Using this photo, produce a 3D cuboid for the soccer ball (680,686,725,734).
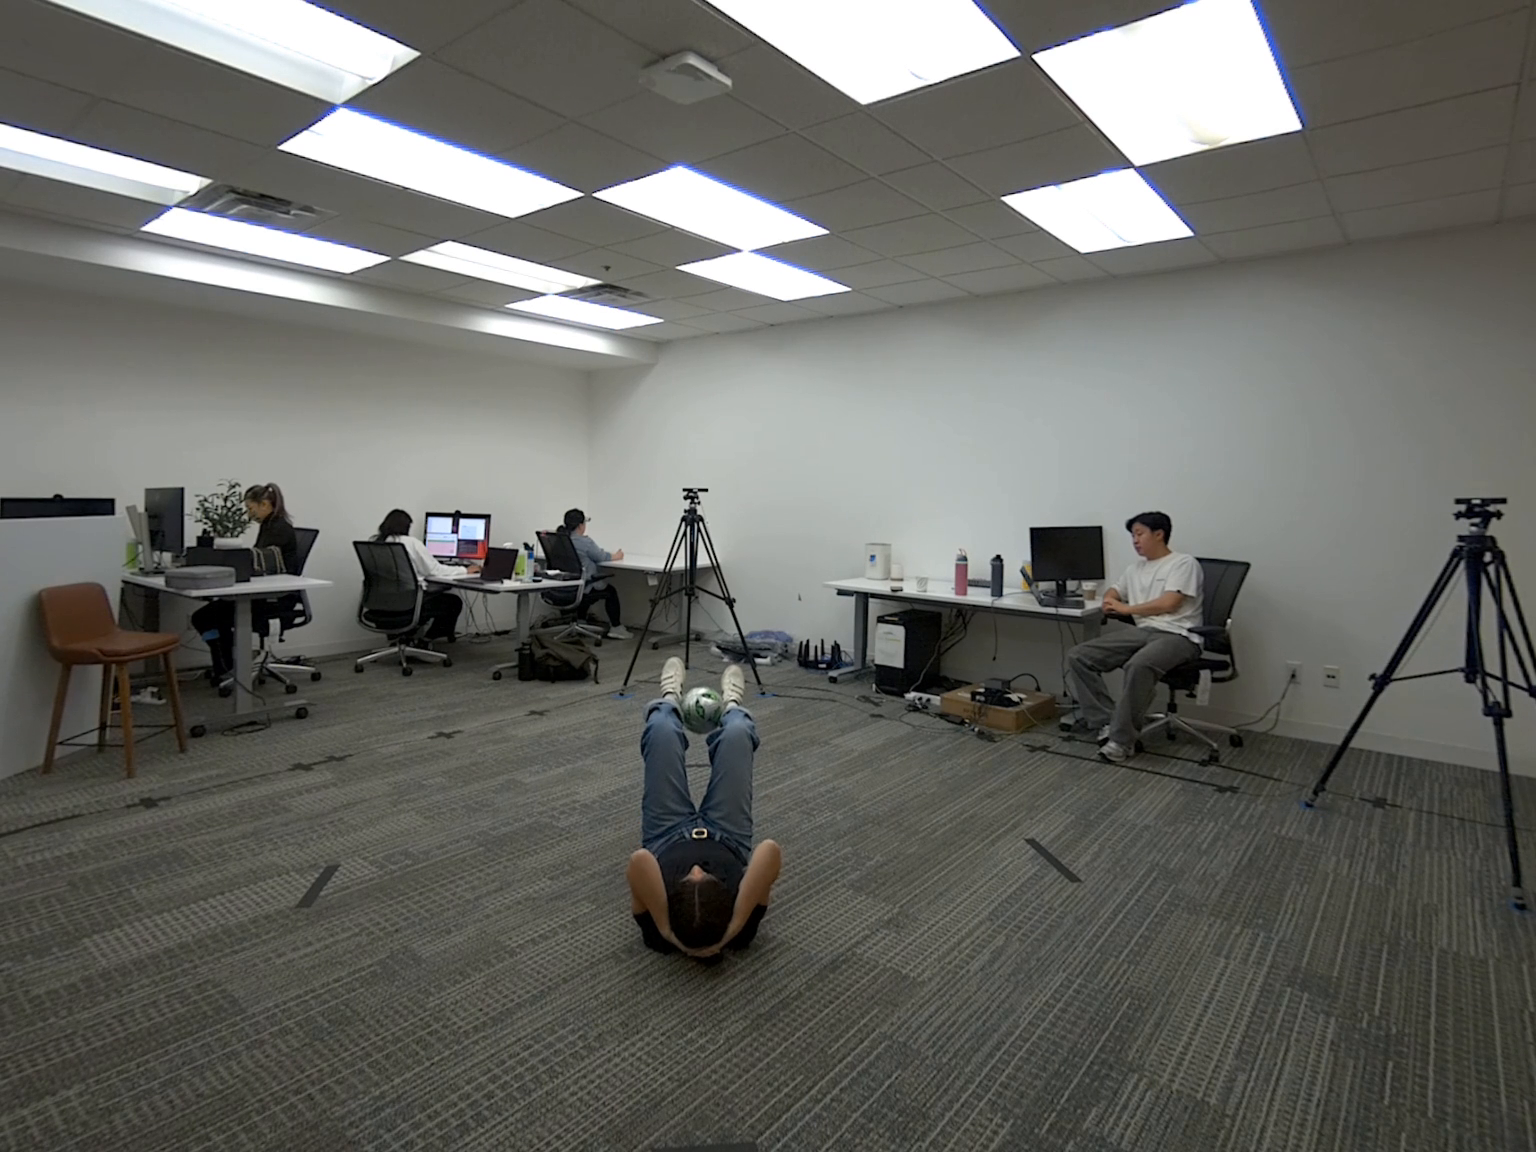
[{"bbox_3d":[-0.275,0.530,3.409,0.187,0.187,0.188,-3,4,-2],"label":"soccer ball"}]
